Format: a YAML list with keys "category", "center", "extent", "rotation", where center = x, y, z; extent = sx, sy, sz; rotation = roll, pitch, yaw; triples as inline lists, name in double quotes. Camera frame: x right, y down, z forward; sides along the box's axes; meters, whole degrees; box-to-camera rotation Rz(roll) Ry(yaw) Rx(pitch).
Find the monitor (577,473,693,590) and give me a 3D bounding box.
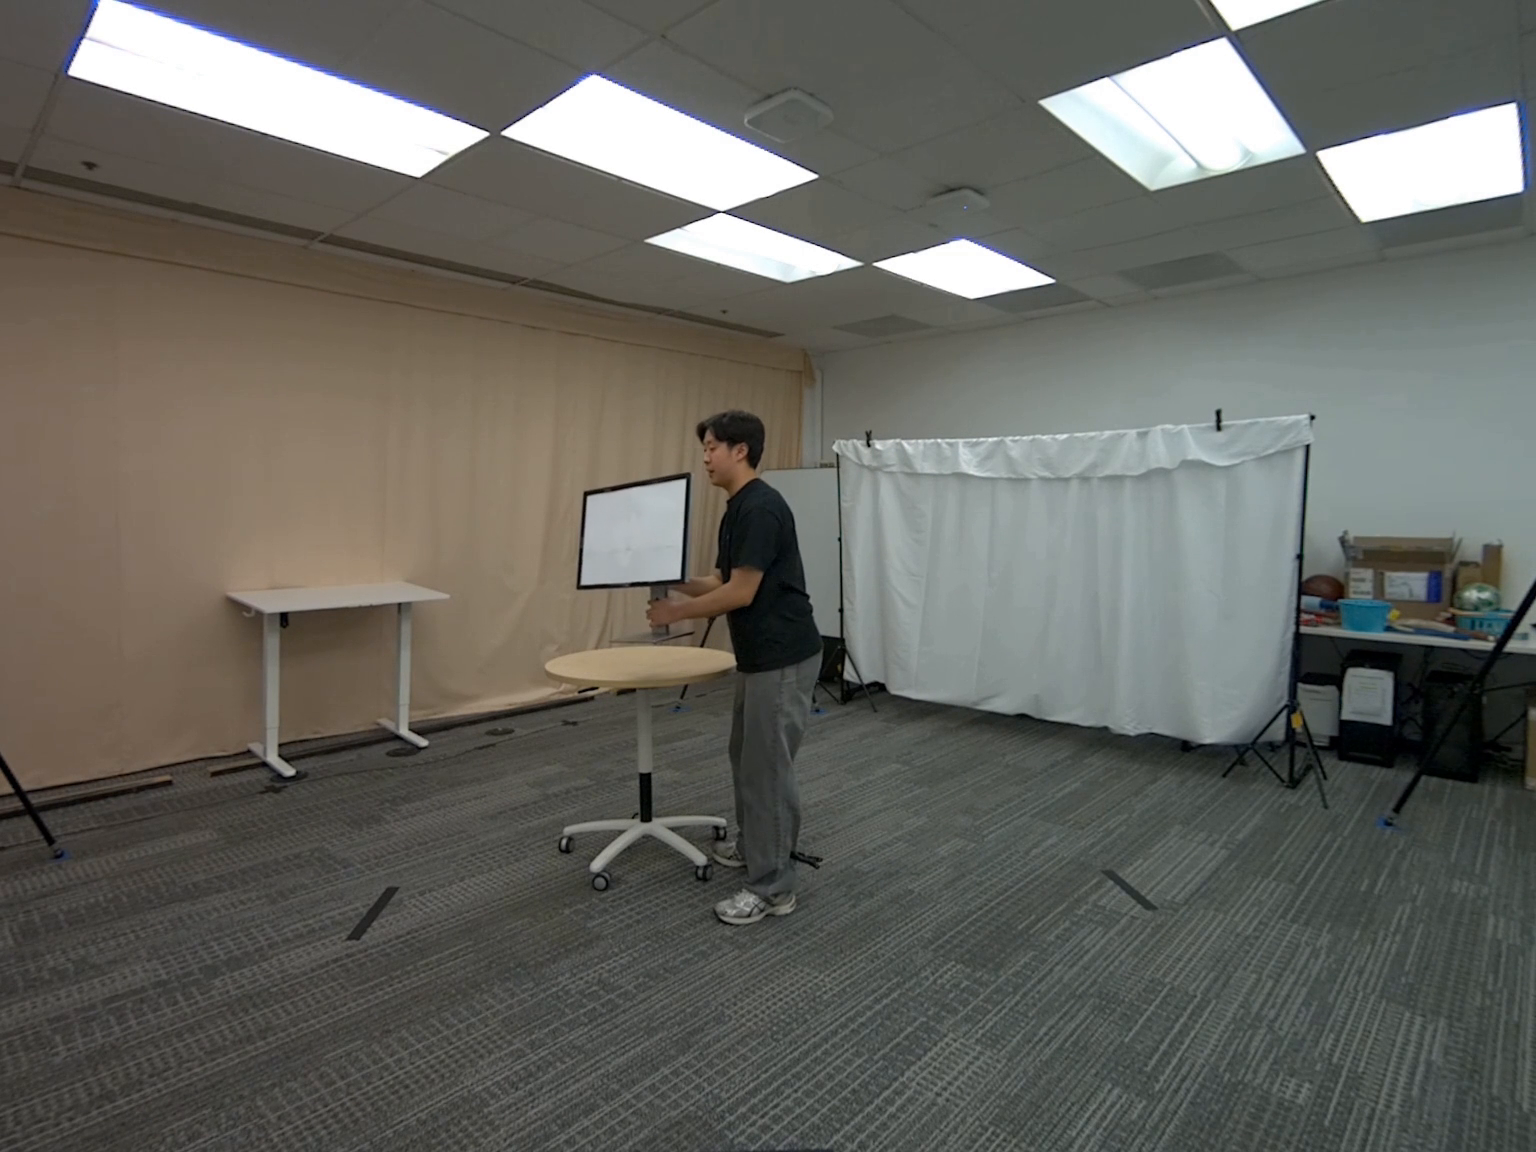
- category: "monitor"
  center: [-0.430, -0.039, 2.910]
  extent: [0.579, 0.565, 0.216]
  rotation: [-5, 4, 44]
